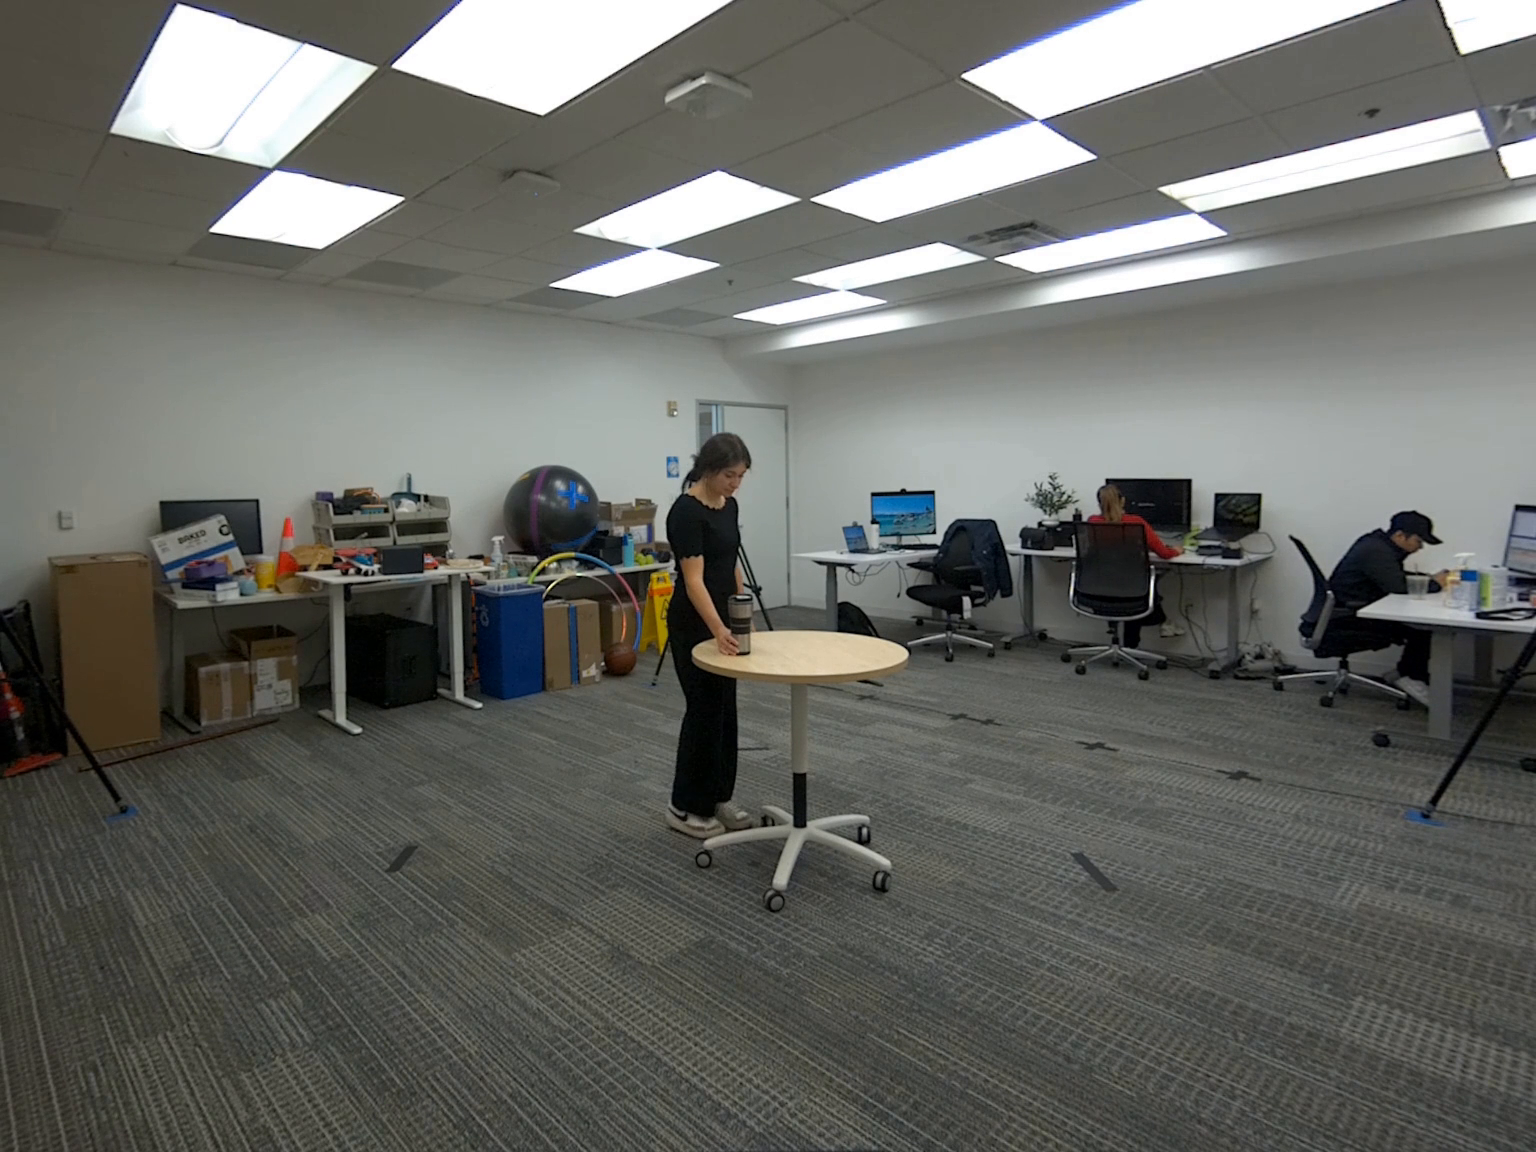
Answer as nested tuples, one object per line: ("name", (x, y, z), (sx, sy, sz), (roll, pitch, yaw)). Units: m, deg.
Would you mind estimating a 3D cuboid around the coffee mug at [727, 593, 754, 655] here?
("coffee mug", (-0.083, 0.166, 3.008), (0.090, 0.202, 0.119), (-1, 8, 39))
